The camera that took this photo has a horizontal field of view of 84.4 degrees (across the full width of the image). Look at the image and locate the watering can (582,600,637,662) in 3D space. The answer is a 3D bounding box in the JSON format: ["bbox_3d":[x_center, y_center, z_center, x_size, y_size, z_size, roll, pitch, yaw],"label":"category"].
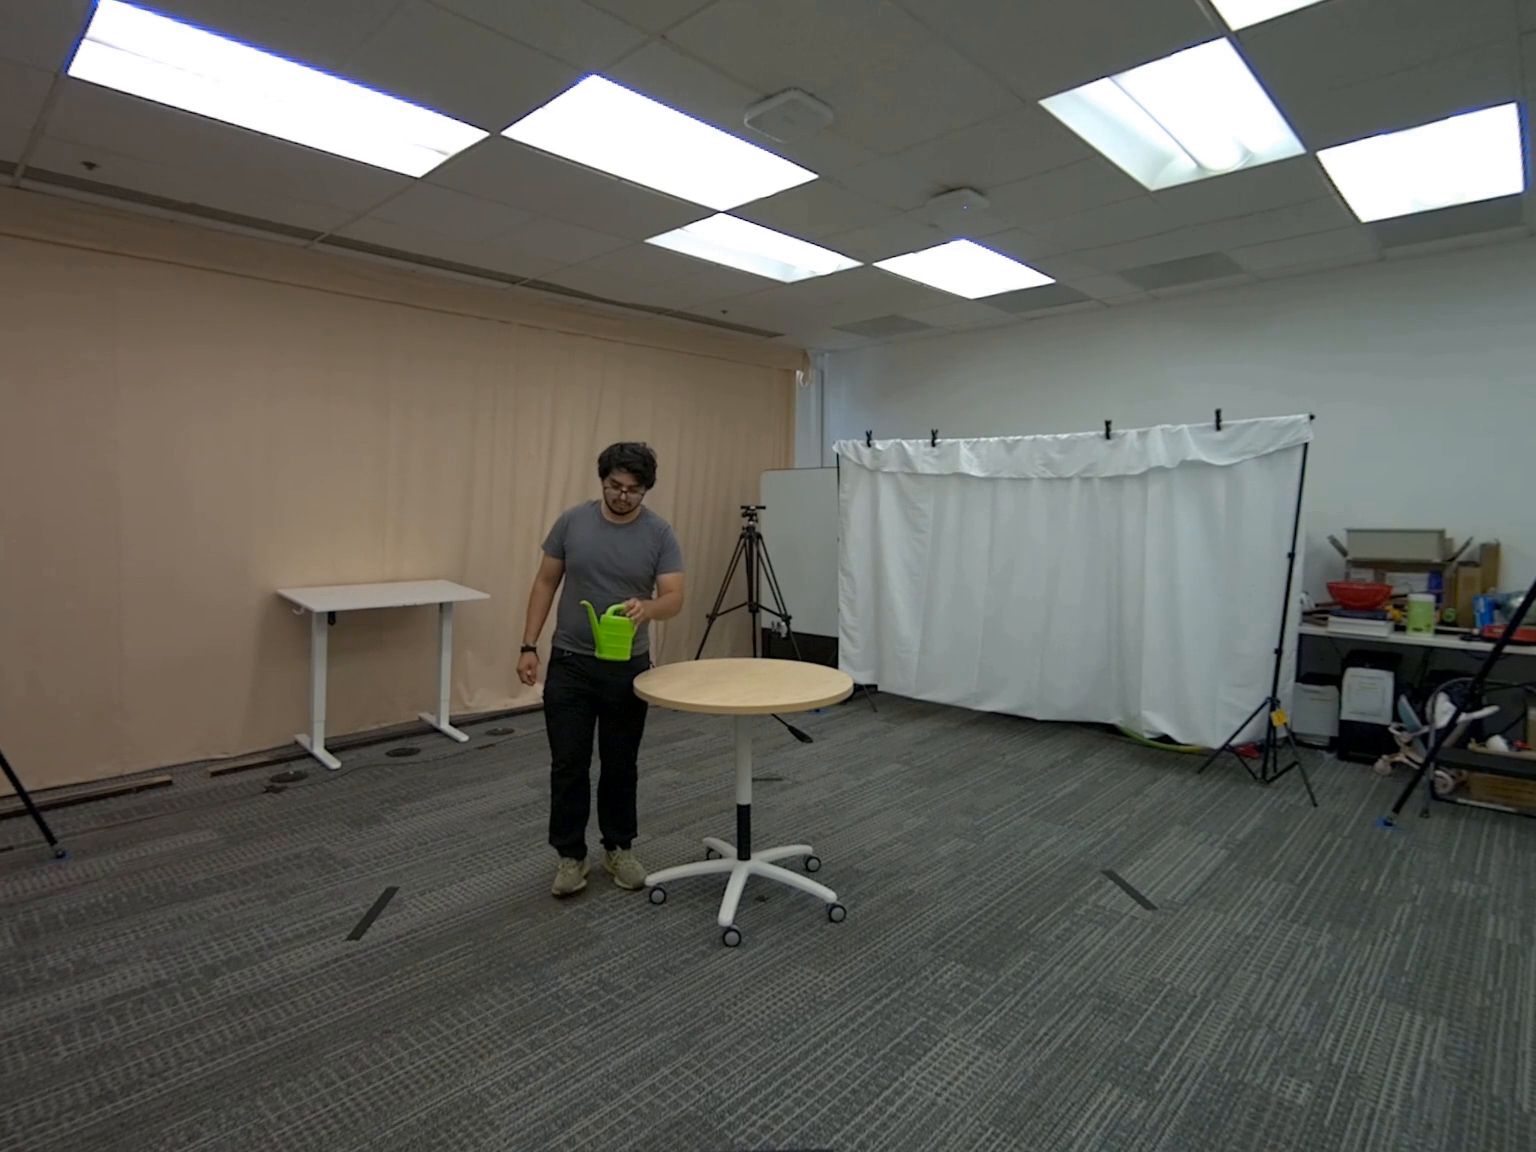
[{"bbox_3d":[-0.507,0.175,2.670,0.101,0.177,0.269,10,-4,35],"label":"watering can"}]
